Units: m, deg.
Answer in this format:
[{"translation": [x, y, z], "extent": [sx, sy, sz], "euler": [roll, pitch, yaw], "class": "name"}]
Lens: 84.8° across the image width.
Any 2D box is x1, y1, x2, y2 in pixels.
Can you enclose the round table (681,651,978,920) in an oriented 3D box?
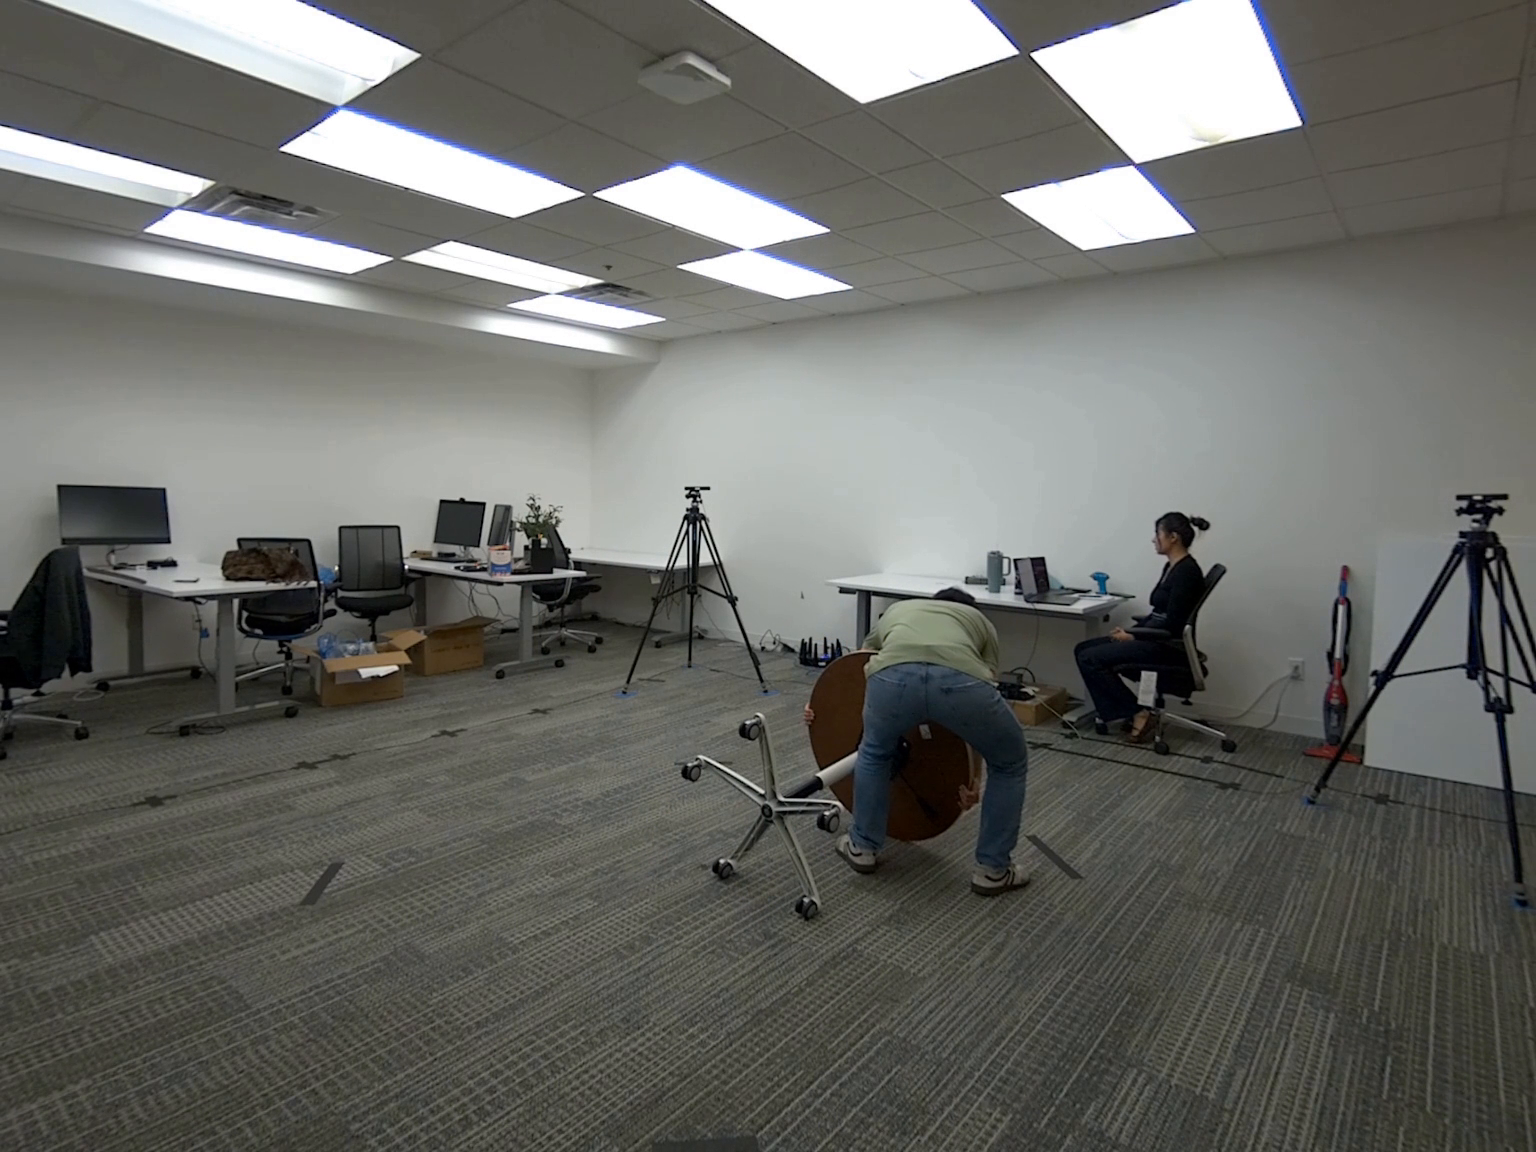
[{"translation": [0.189, 0.741, 3.124], "extent": [0.790, 0.757, 0.774], "euler": [5, 12, 43], "class": "round table"}]
